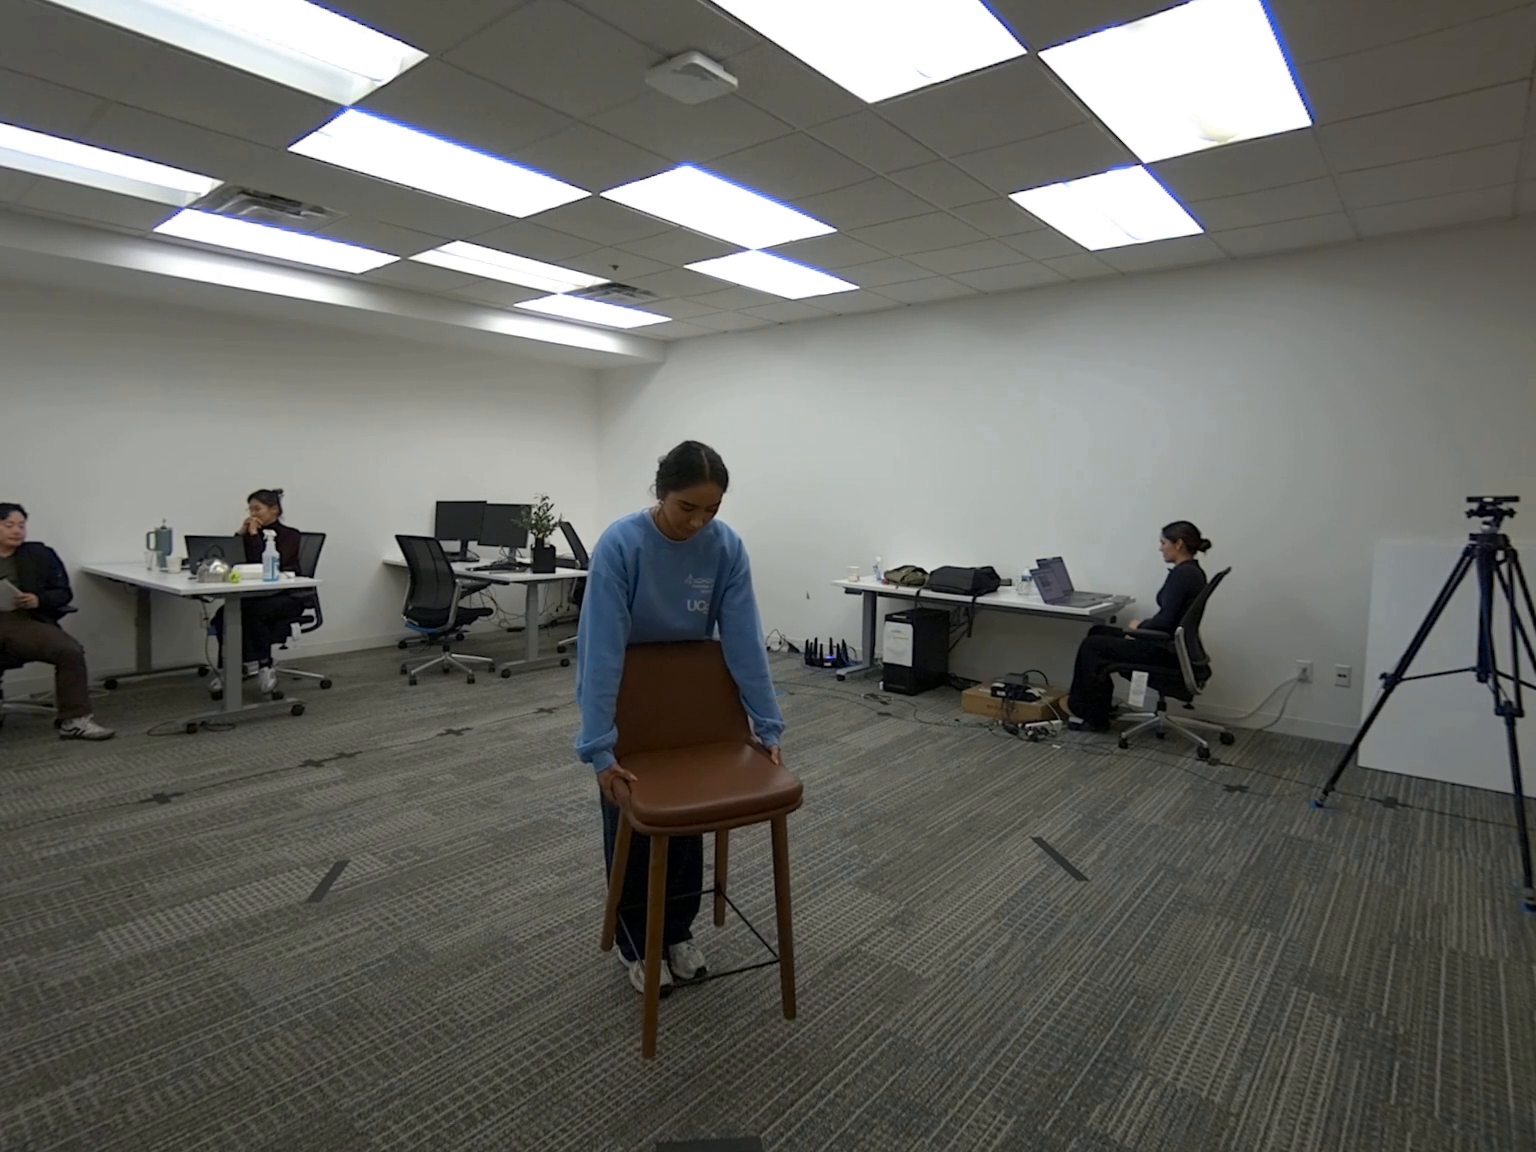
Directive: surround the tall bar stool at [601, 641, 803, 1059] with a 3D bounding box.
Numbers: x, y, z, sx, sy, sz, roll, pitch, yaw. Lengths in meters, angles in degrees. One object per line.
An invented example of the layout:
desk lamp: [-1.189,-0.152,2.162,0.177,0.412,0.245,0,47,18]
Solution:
tall bar stool: [-0.199,0.659,2.223,0.446,0.884,0.481,-2,8,-25]
